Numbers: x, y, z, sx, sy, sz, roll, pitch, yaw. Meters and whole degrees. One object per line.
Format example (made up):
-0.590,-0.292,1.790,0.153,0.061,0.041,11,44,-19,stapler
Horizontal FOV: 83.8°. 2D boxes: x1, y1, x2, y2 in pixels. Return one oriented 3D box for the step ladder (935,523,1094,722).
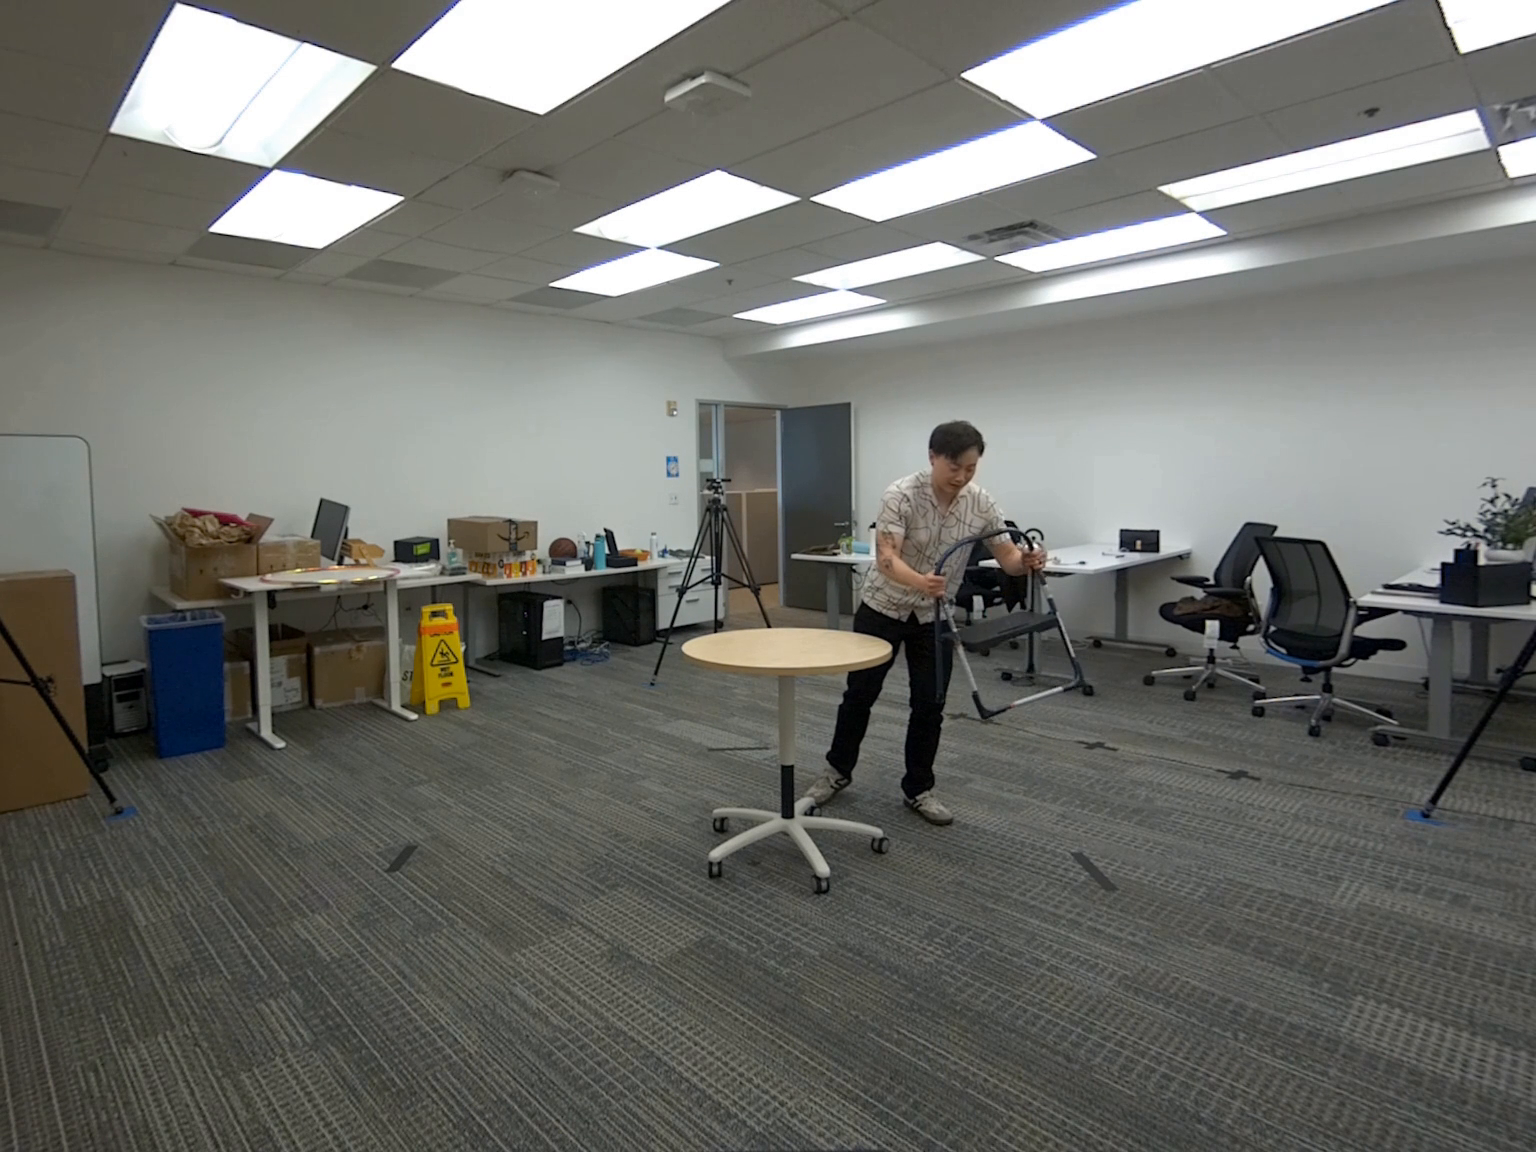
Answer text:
0.797,0.141,3.095,0.426,0.604,0.354,-17,4,-15,step ladder
